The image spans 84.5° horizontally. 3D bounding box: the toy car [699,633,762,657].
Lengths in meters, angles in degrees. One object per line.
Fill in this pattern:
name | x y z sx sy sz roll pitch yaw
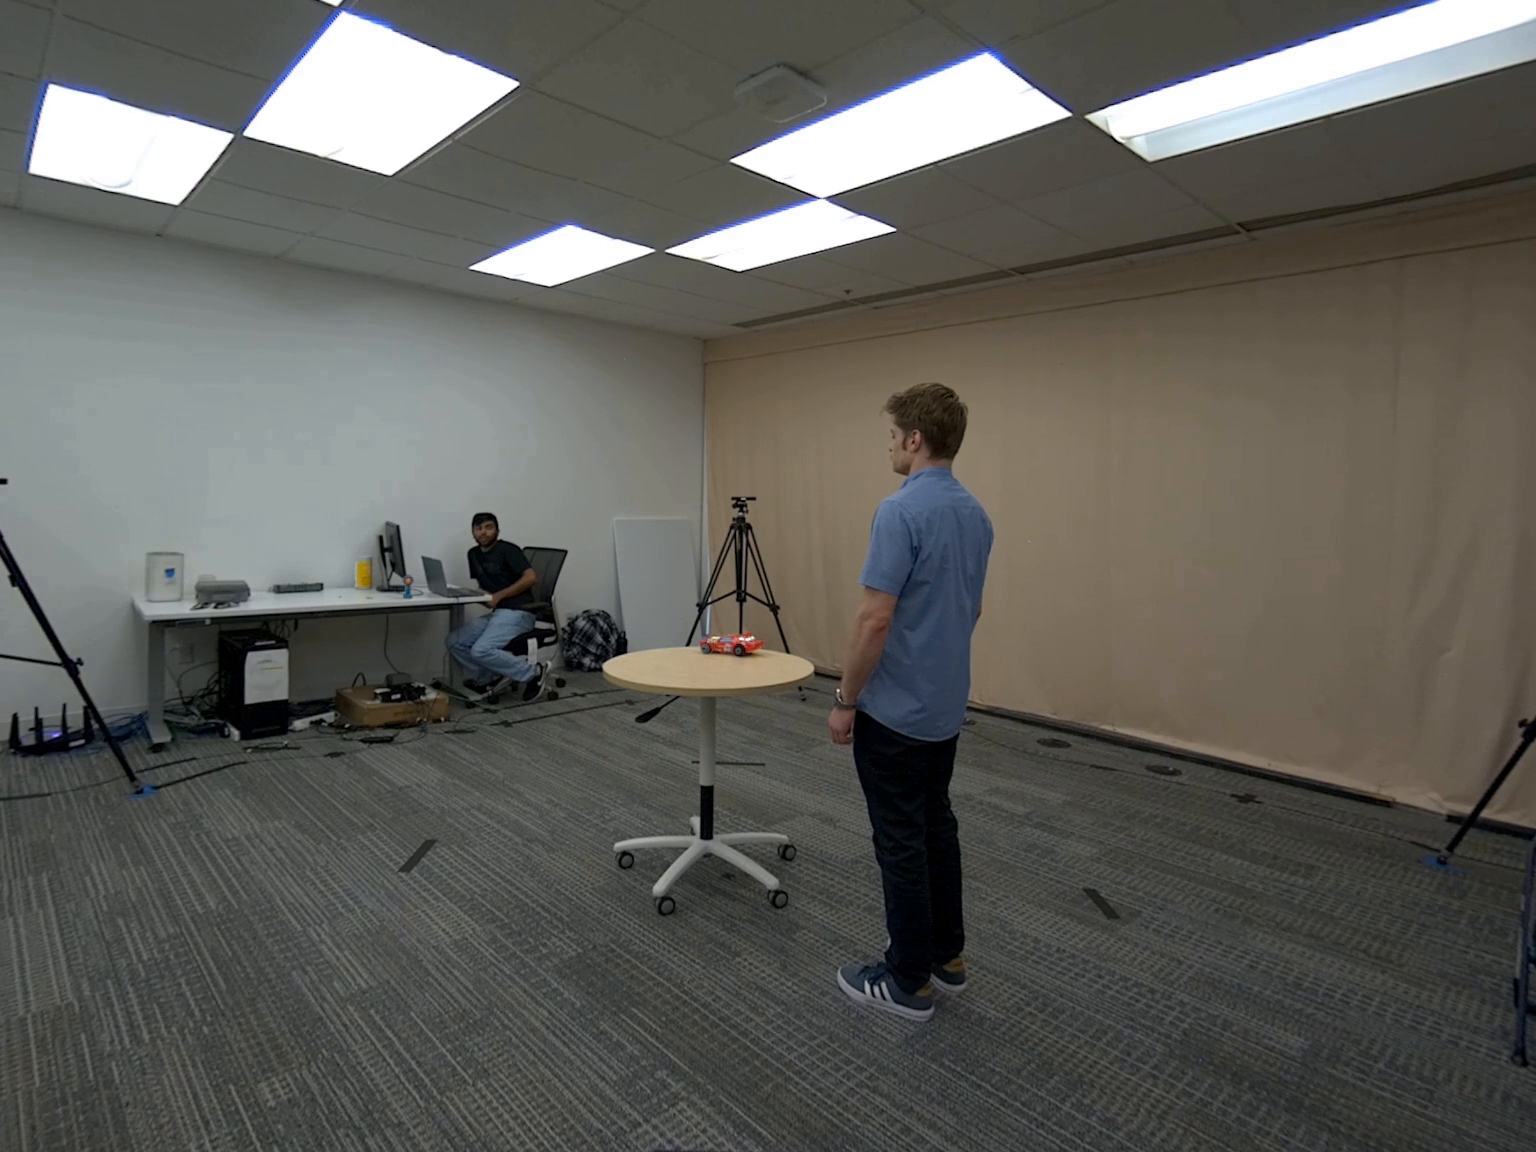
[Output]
toy car | -0.147 0.275 3.291 0.258 0.083 0.128 -9 0 24
